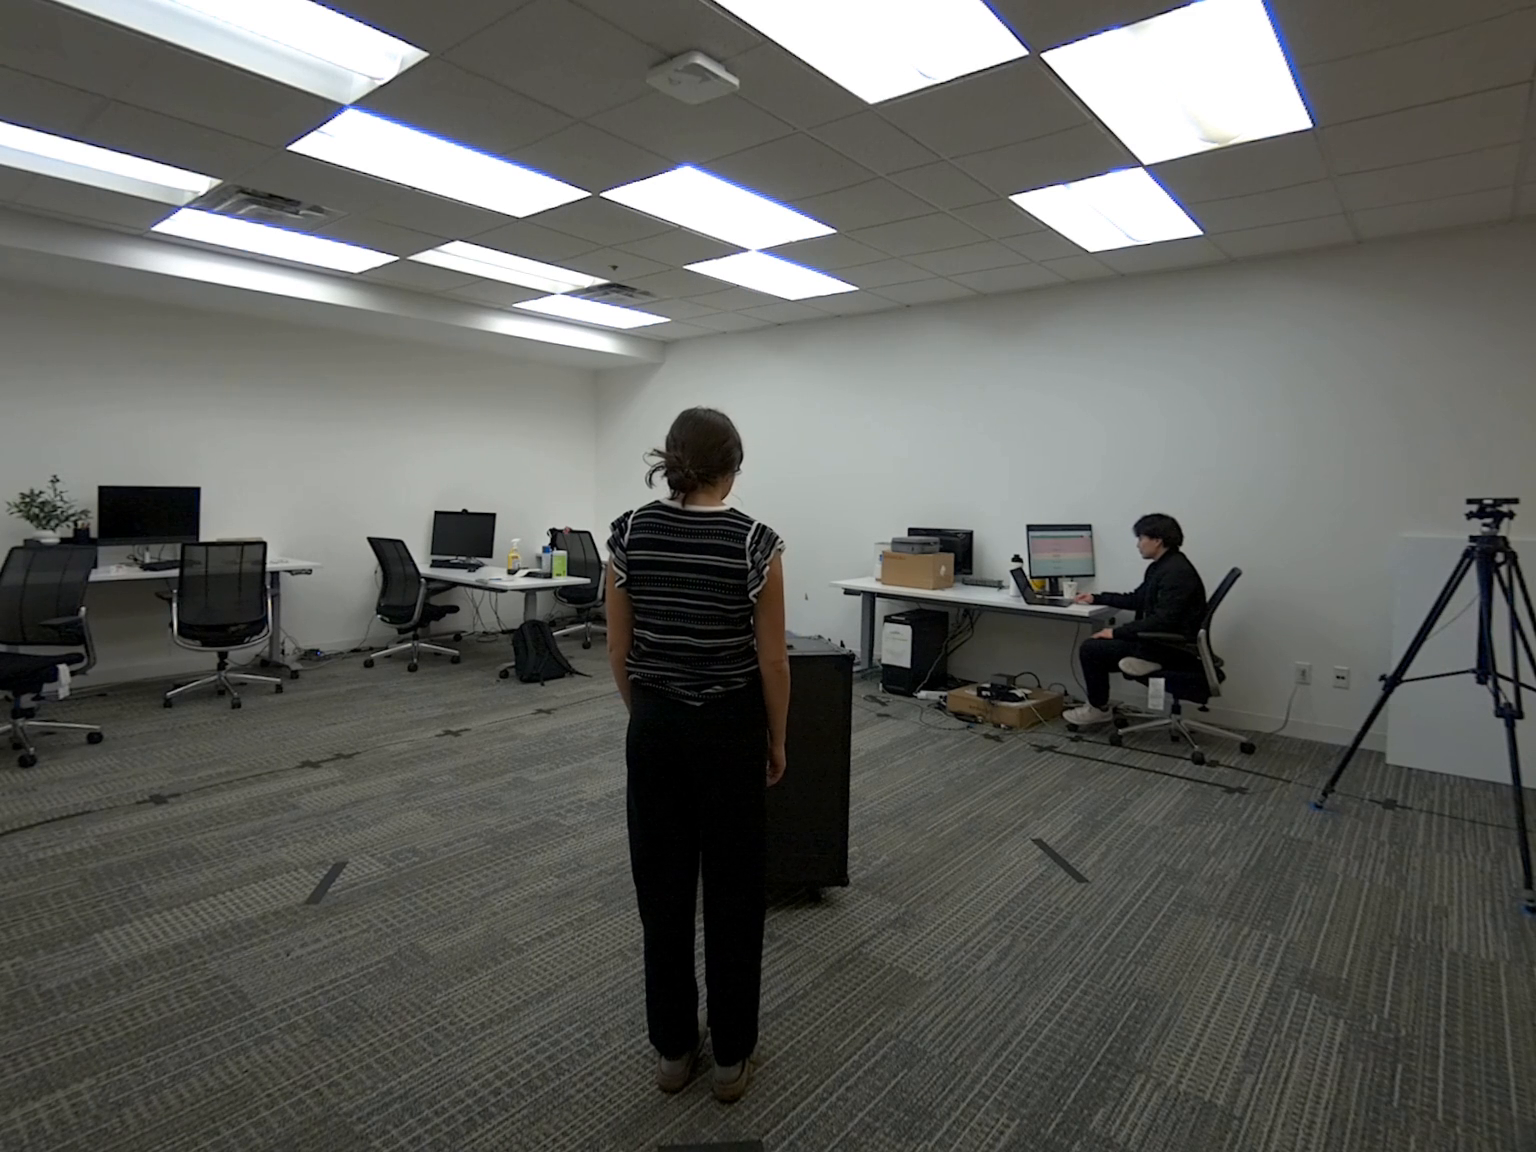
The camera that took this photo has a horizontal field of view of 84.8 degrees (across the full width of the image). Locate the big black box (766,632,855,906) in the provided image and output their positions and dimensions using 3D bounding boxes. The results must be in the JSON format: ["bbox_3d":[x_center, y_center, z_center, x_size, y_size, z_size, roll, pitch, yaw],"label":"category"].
[{"bbox_3d":[-0.012,0.659,2.962,0.516,0.859,0.402,0,3,-11],"label":"big black box"}]
